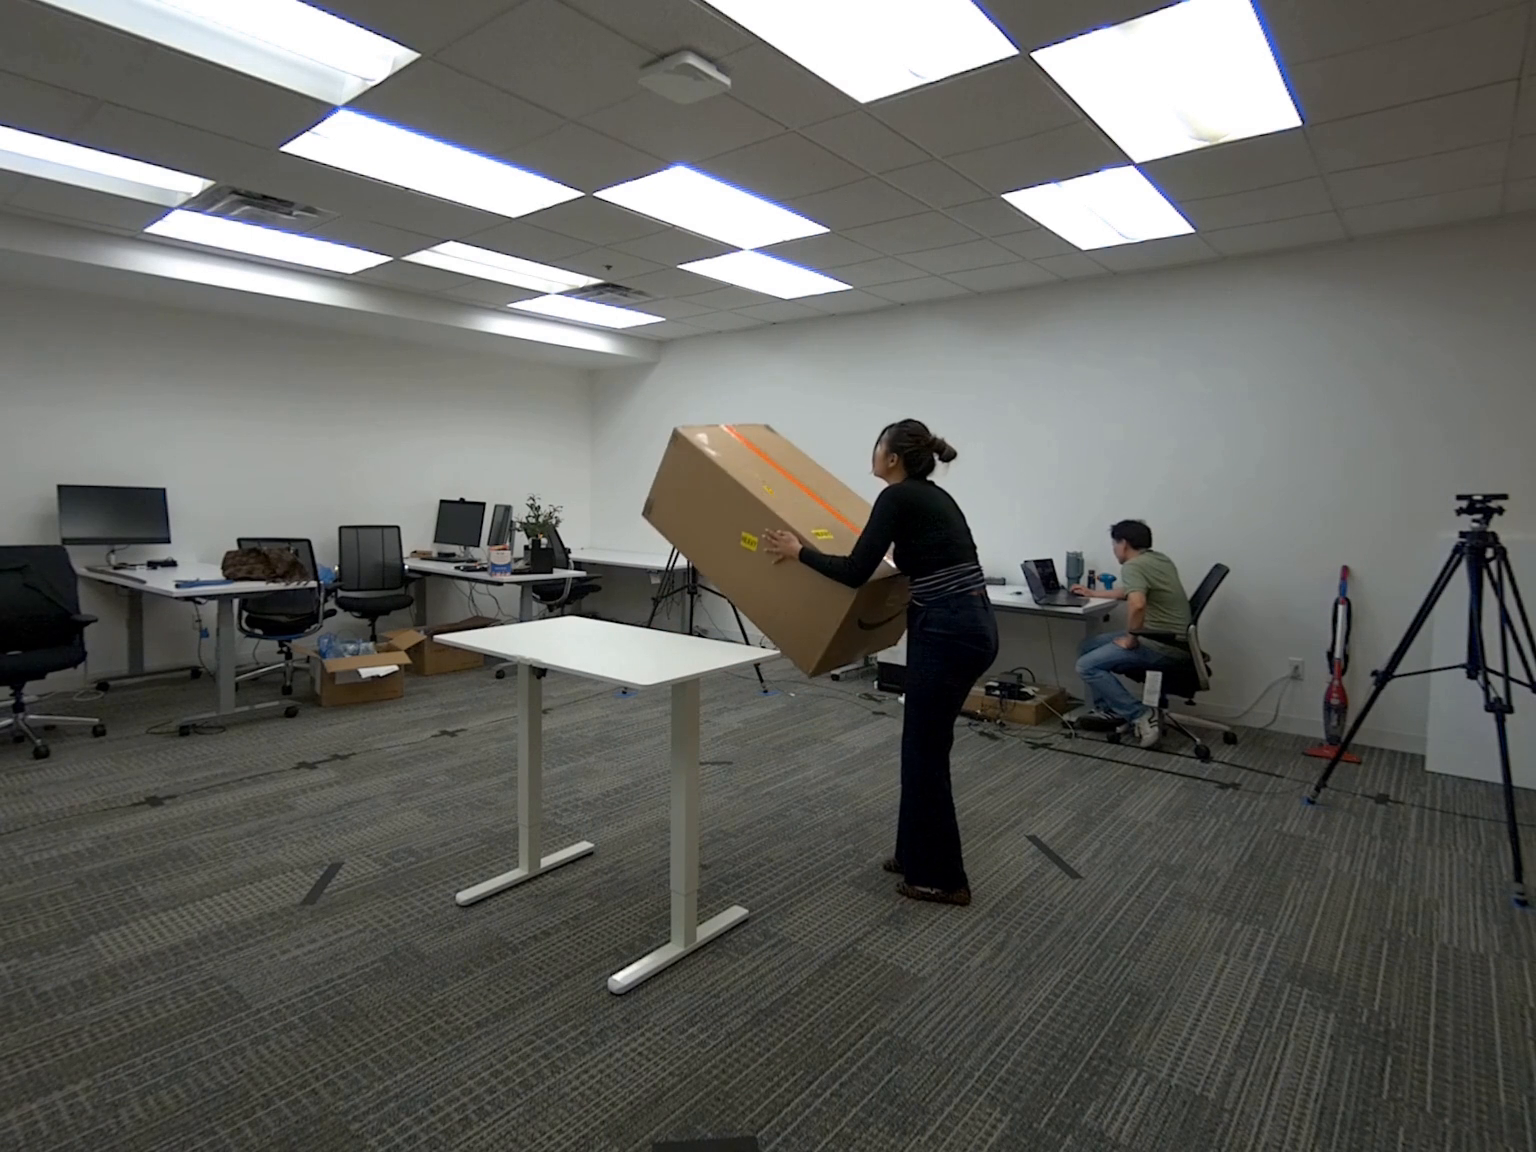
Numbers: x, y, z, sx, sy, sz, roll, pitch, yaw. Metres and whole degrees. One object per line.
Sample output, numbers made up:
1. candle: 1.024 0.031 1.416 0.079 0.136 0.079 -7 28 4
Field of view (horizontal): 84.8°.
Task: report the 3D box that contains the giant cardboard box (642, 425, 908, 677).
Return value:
1. giant cardboard box: 0.062 -0.148 3.361 0.563 0.421 1.065 -11 45 -46
